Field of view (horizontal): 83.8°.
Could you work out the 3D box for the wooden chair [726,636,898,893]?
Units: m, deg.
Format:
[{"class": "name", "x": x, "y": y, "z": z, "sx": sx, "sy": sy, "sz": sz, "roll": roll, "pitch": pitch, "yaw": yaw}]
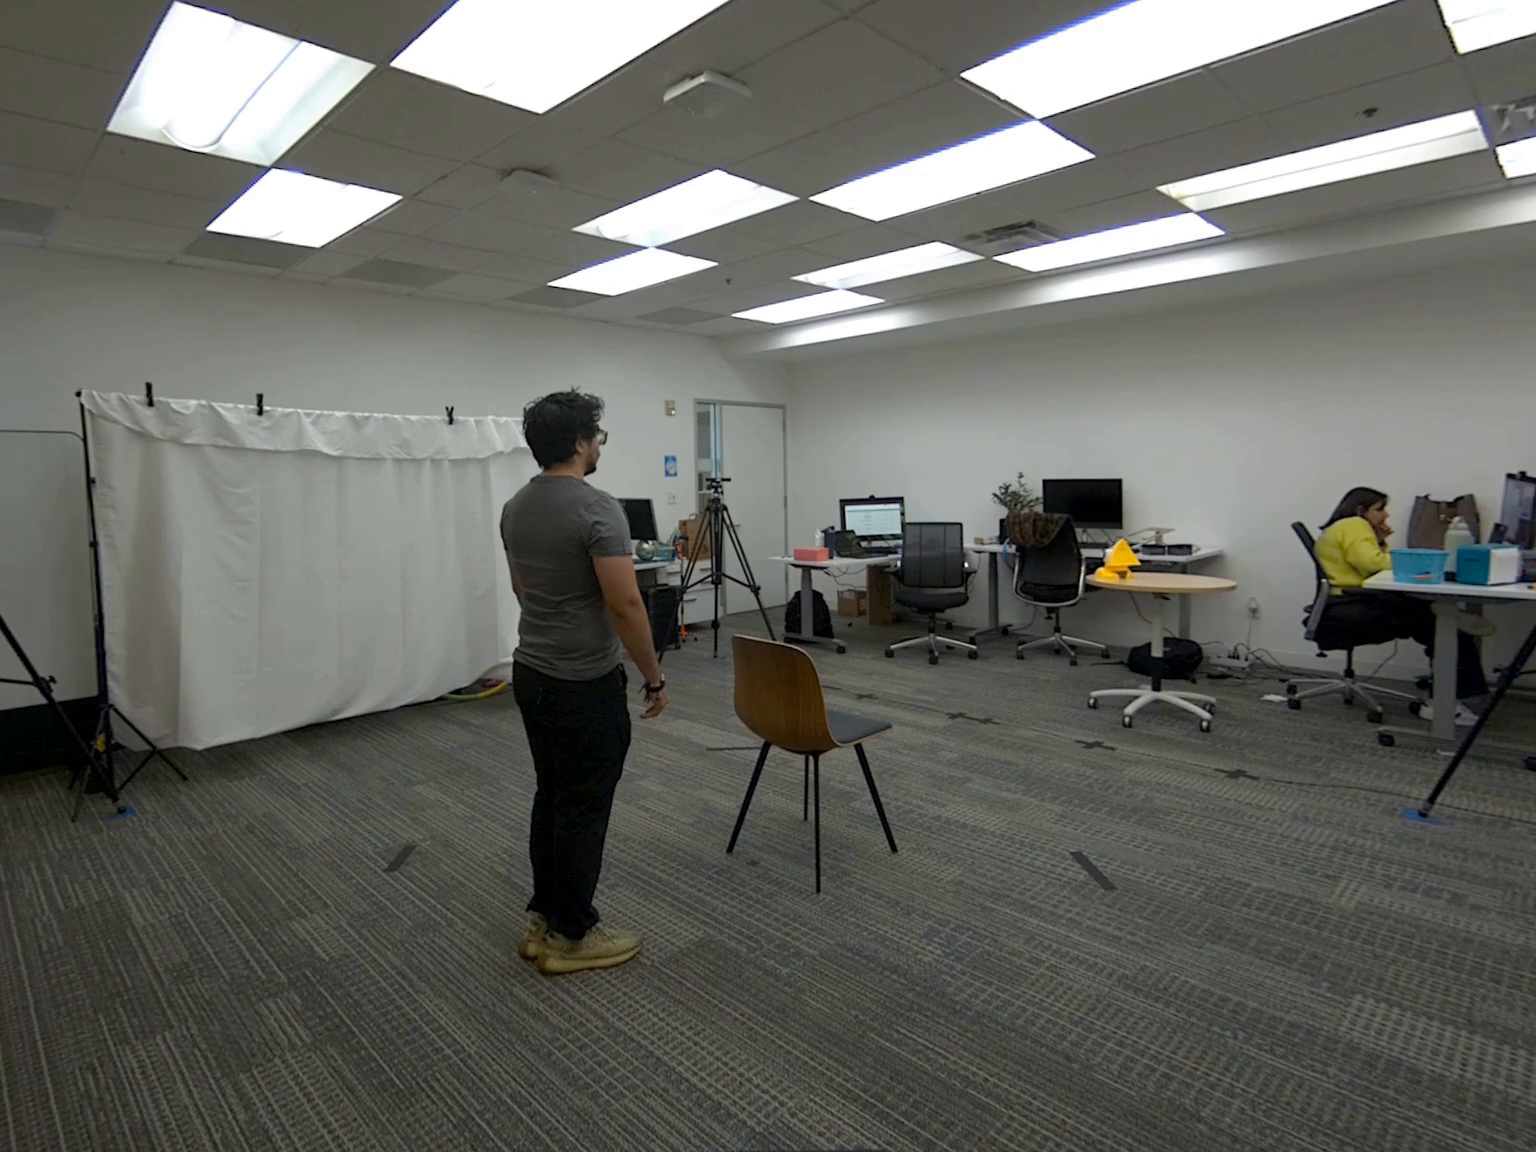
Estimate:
[{"class": "wooden chair", "x": 0.162, "y": 0.605, "z": 3.158, "sx": 0.493, "sy": 0.871, "sz": 0.511, "roll": 3, "pitch": 10, "yaw": 45}]
